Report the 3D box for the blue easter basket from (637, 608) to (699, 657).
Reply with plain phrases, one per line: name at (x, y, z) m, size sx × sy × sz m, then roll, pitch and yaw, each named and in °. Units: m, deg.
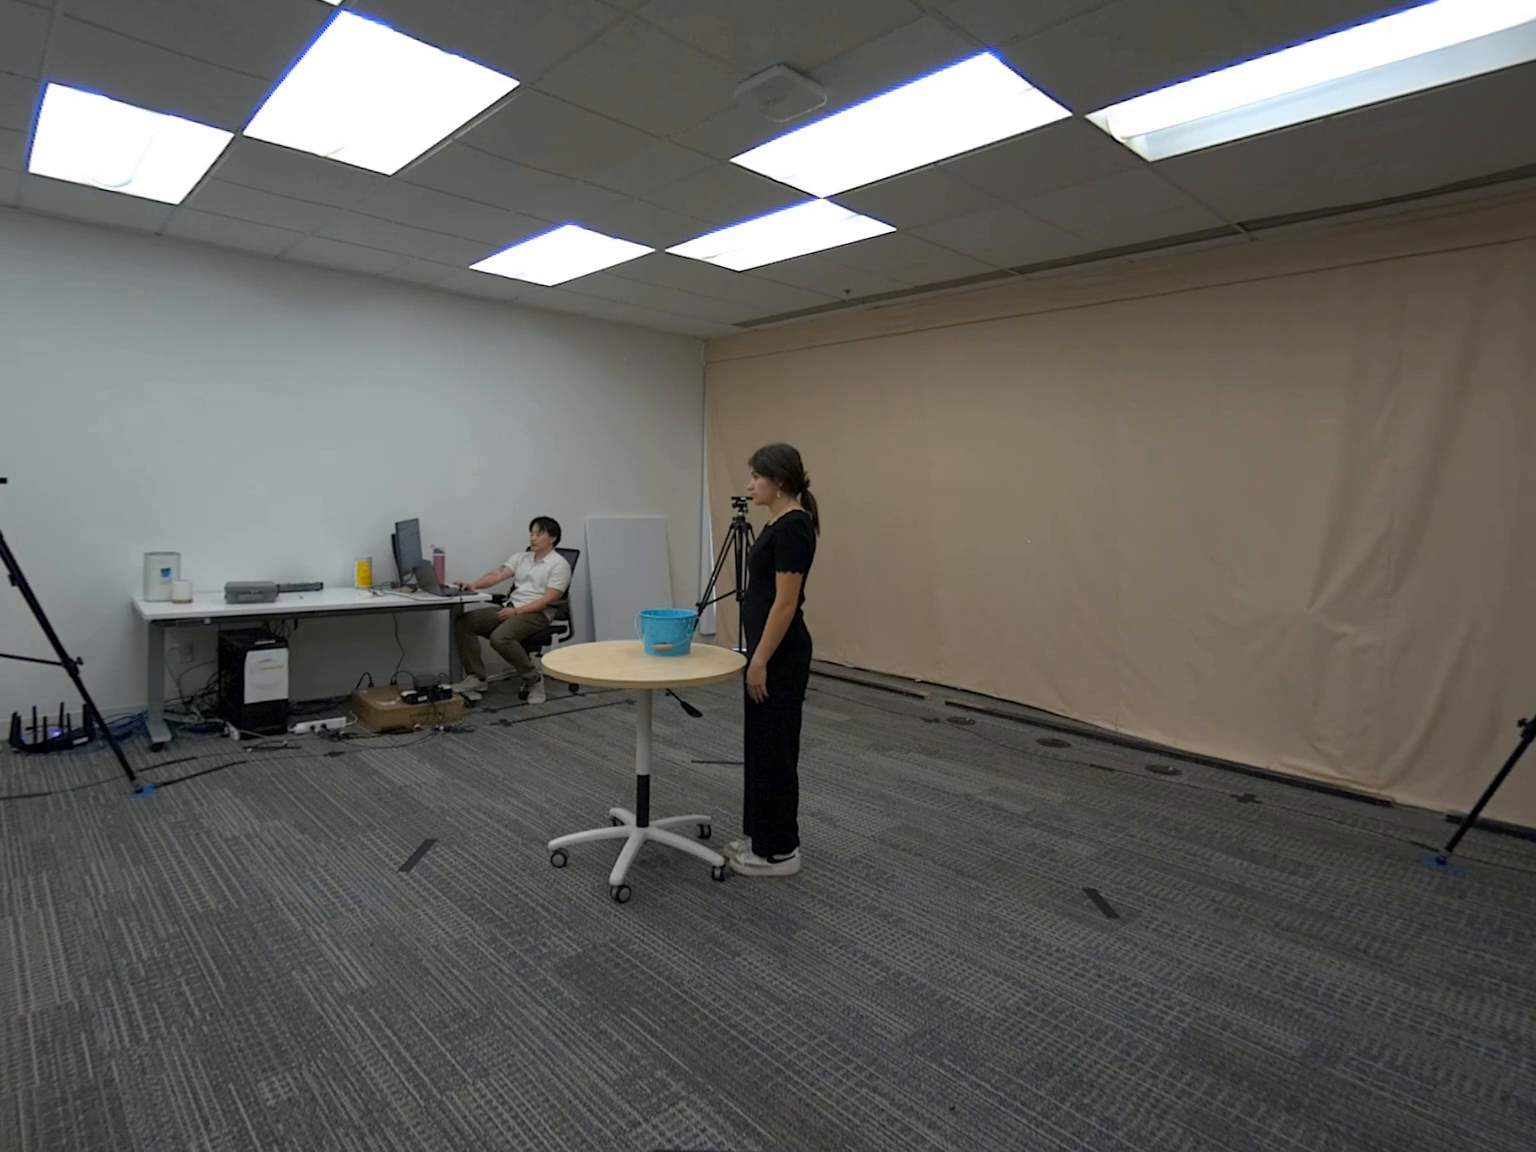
blue easter basket at (-0.404, 0.219, 3.296) m, size 0.243 × 0.155 × 0.244 m, roll 1°, pitch 4°, yaw -1°
